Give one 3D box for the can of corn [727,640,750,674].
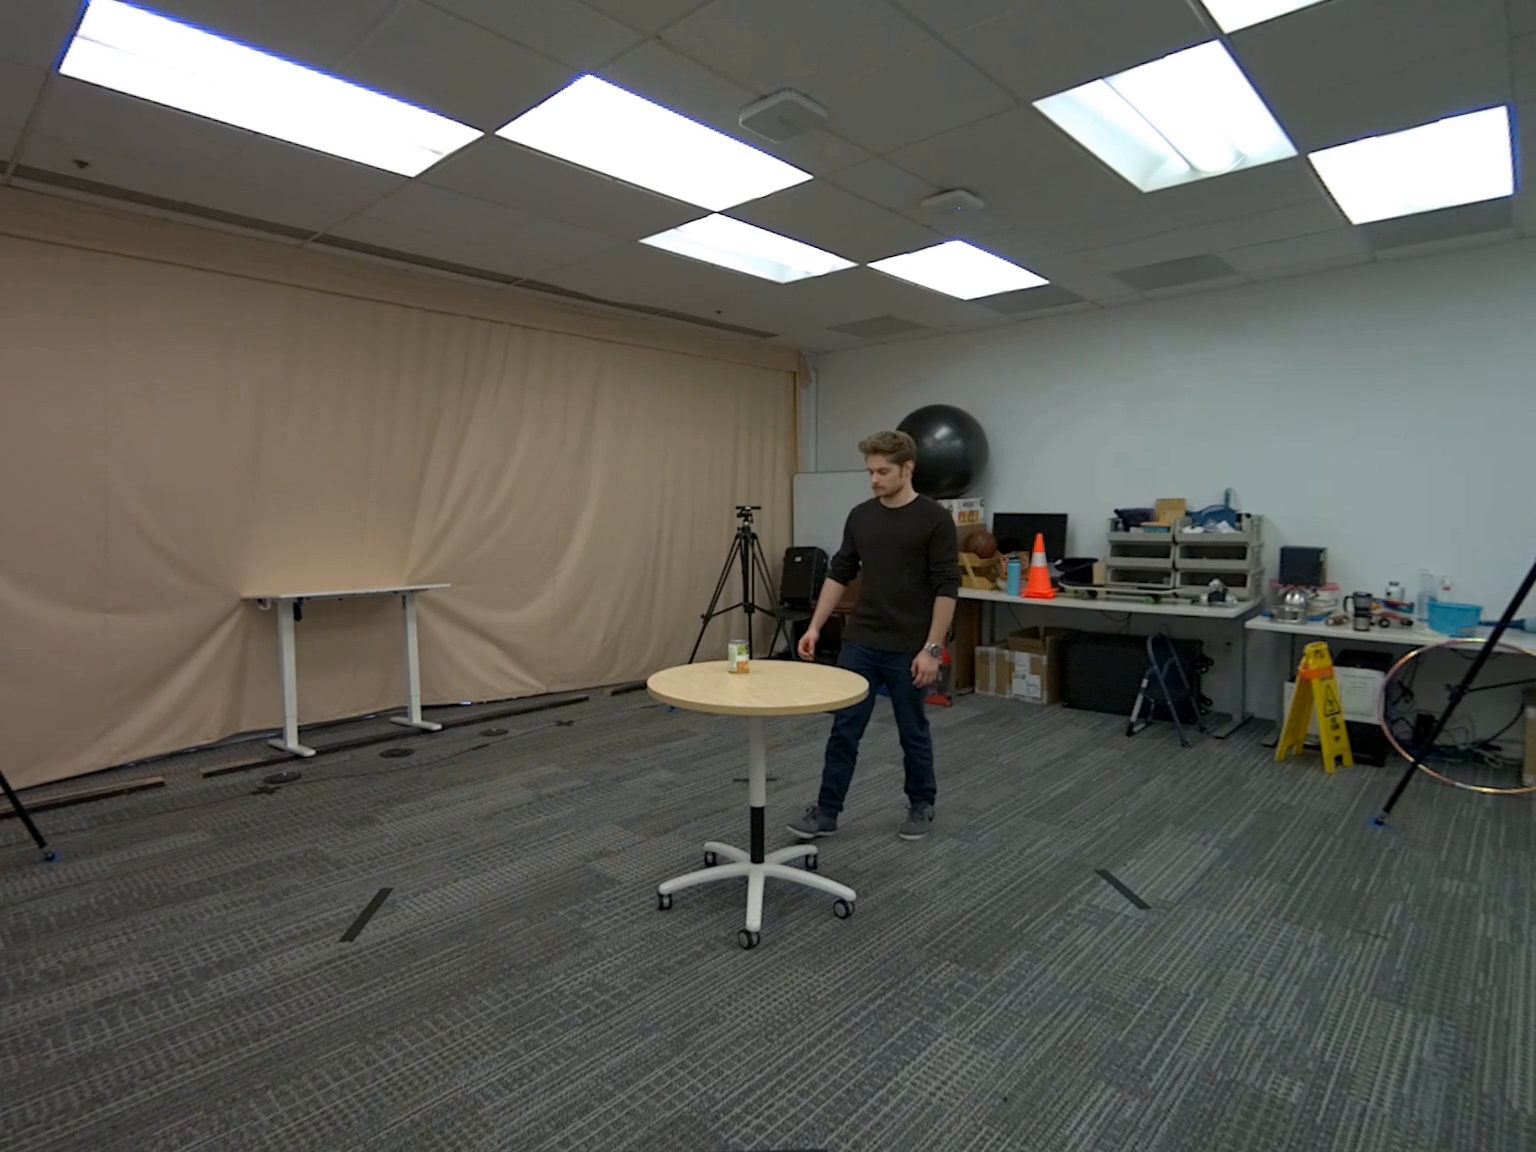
[{"bbox_3d":[-0.108,0.297,3.077,0.074,0.111,0.074,-2,3,-2],"label":"can of corn"}]
